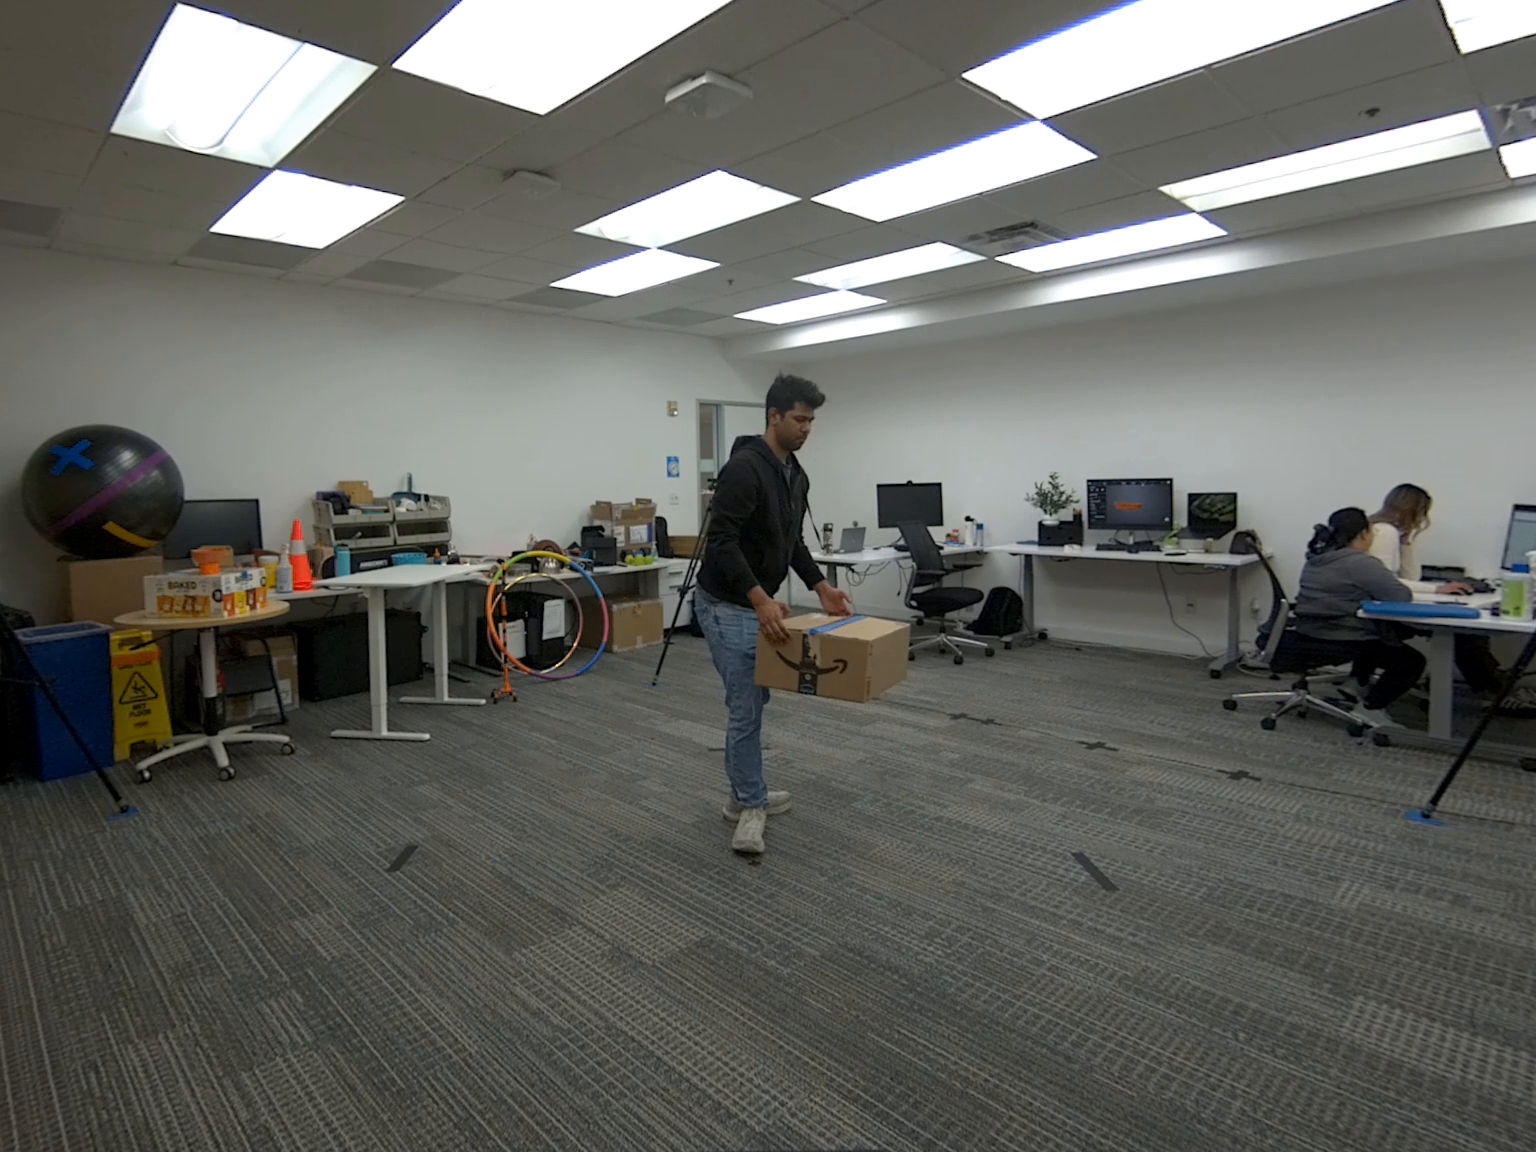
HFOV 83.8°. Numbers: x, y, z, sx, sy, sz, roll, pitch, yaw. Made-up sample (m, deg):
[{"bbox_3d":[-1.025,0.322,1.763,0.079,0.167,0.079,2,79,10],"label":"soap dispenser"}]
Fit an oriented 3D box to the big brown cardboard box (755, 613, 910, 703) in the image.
[{"bbox_3d":[0.259,0.295,3.212,0.428,0.232,0.576,5,5,25],"label":"big brown cardboard box"}]
